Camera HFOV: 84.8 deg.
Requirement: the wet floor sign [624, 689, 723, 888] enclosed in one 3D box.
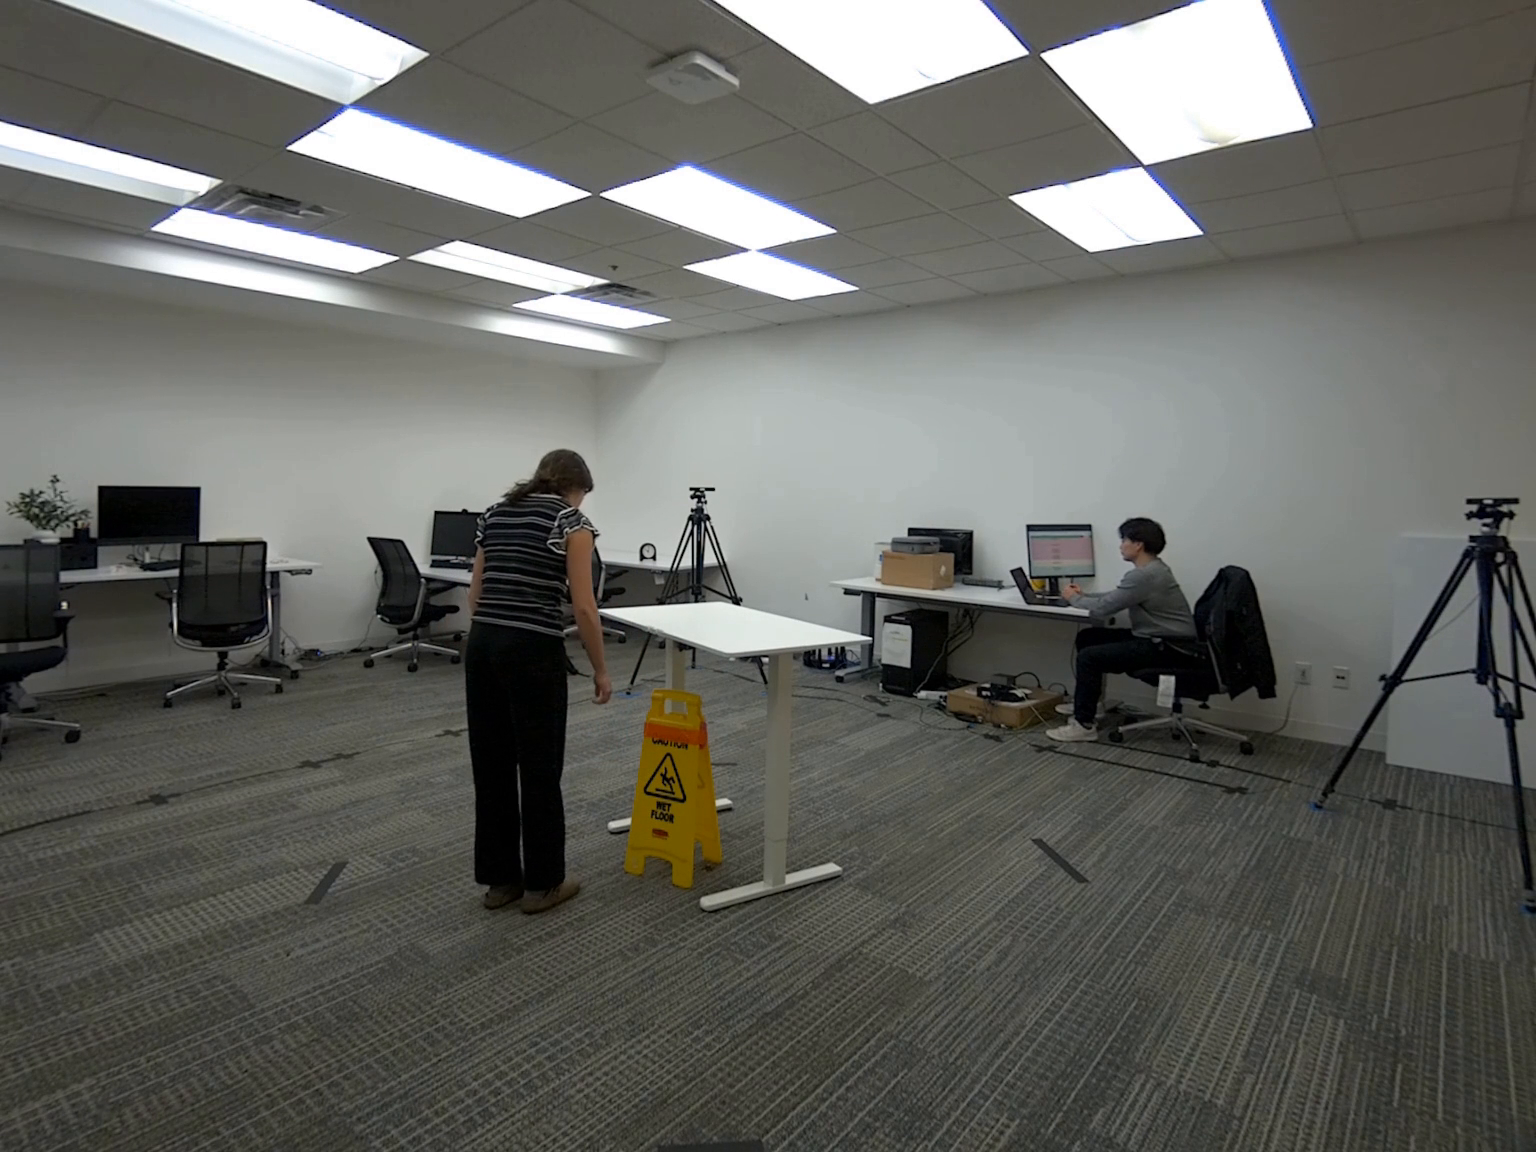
[{"bbox_3d":[-0.351,0.738,3.102,0.290,0.645,0.282,3,3,27],"label":"wet floor sign"}]
